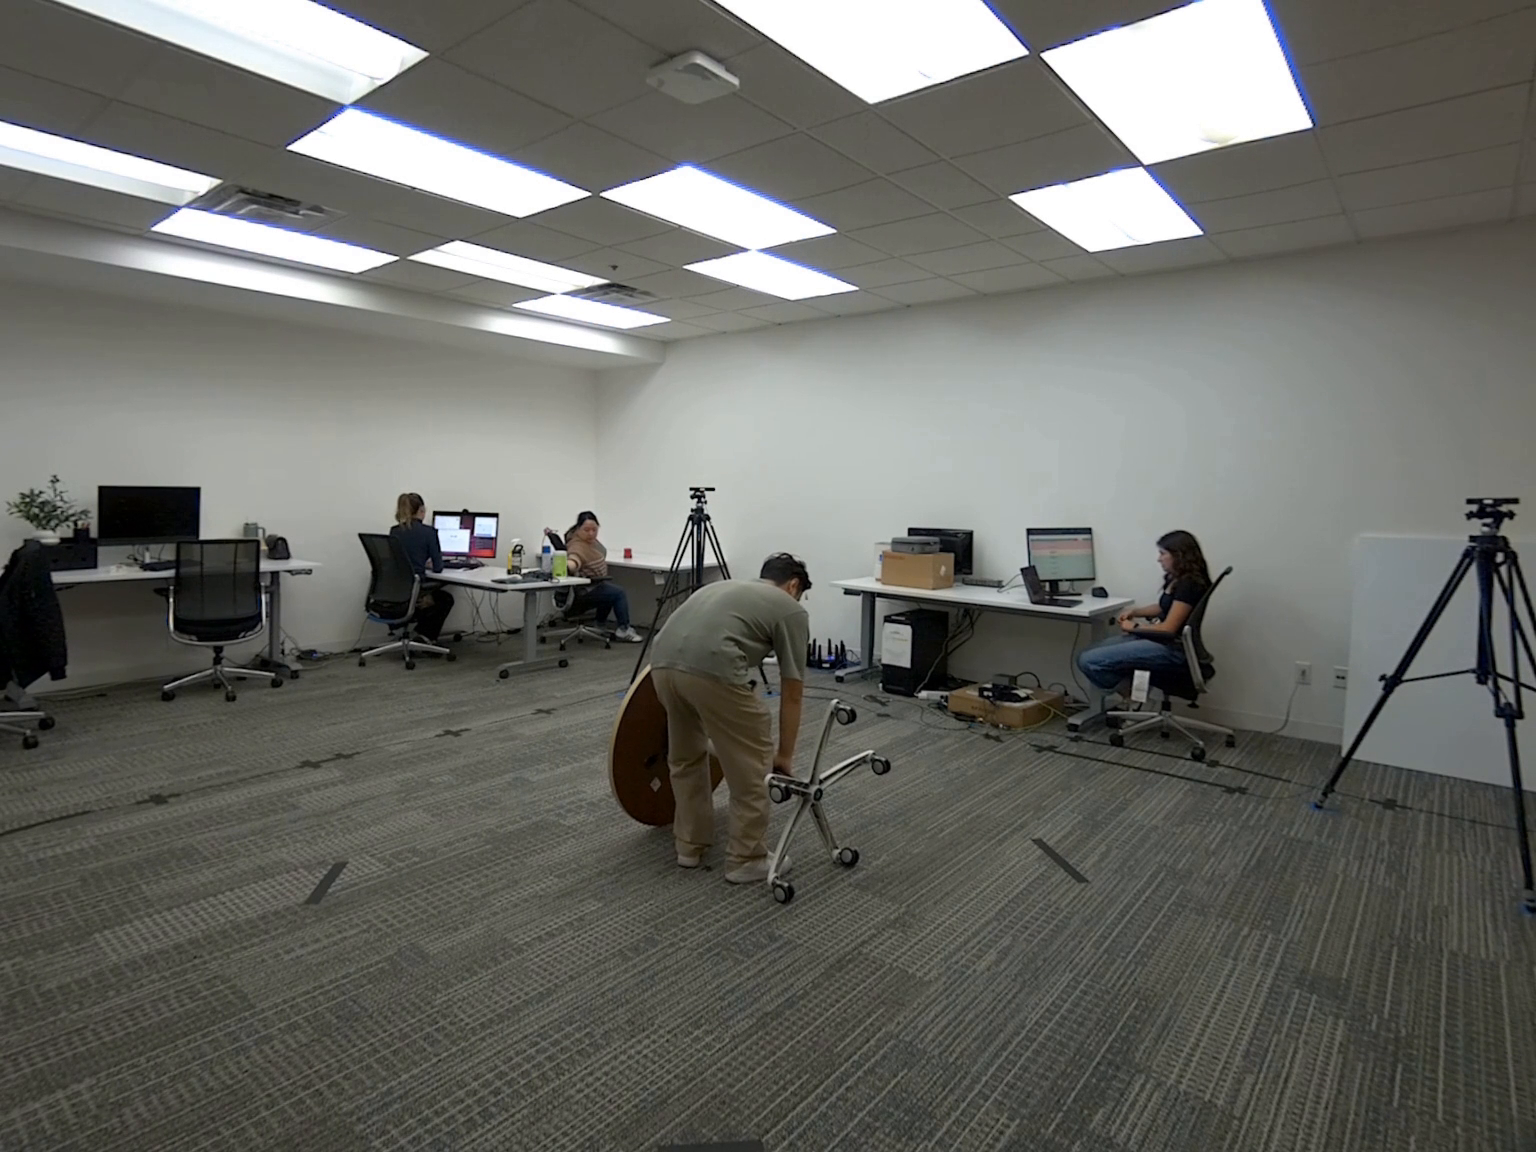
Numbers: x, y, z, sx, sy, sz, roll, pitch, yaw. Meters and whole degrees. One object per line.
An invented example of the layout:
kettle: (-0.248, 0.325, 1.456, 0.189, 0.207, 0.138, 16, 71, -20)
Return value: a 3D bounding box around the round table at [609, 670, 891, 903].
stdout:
round table: (-0.064, 0.721, 3.250, 0.816, 0.780, 0.762, 14, 11, 39)
